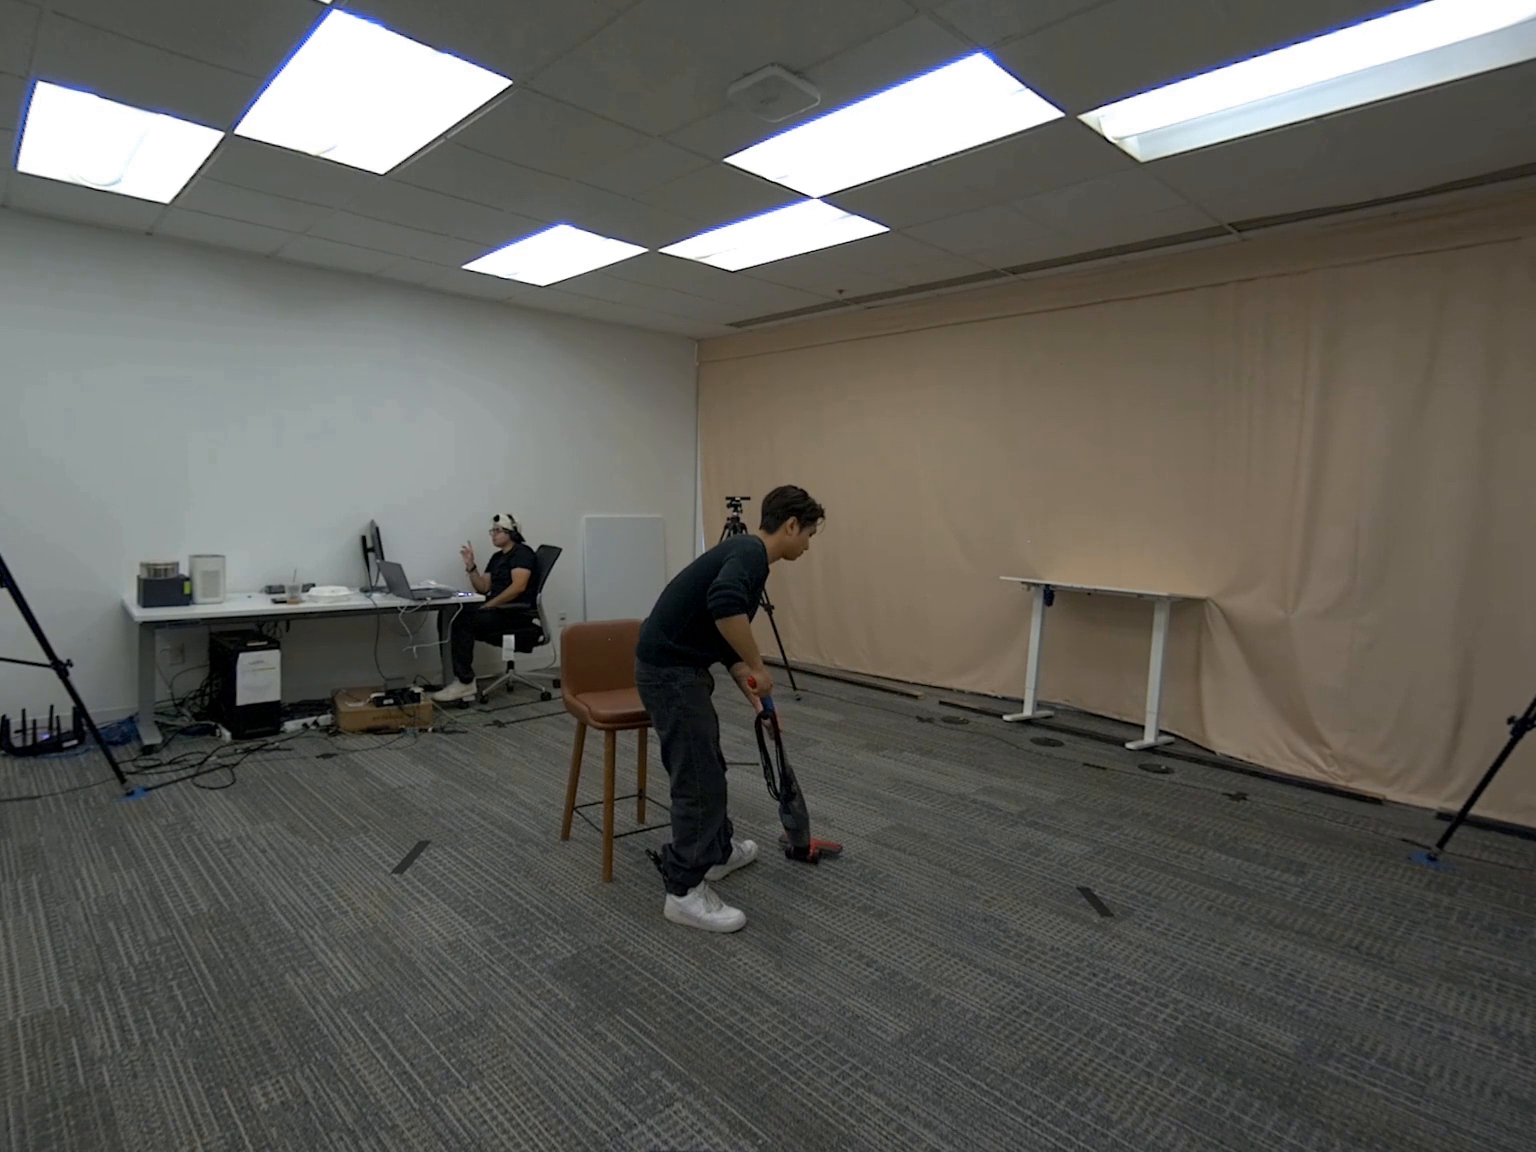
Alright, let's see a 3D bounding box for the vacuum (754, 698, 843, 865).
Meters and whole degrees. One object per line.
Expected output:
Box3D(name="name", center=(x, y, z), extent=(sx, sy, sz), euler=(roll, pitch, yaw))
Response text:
Box3D(name="vacuum", center=(0.044, 0.704, 2.978), extent=(0.257, 1.021, 0.145), euler=(6, 45, 24))
